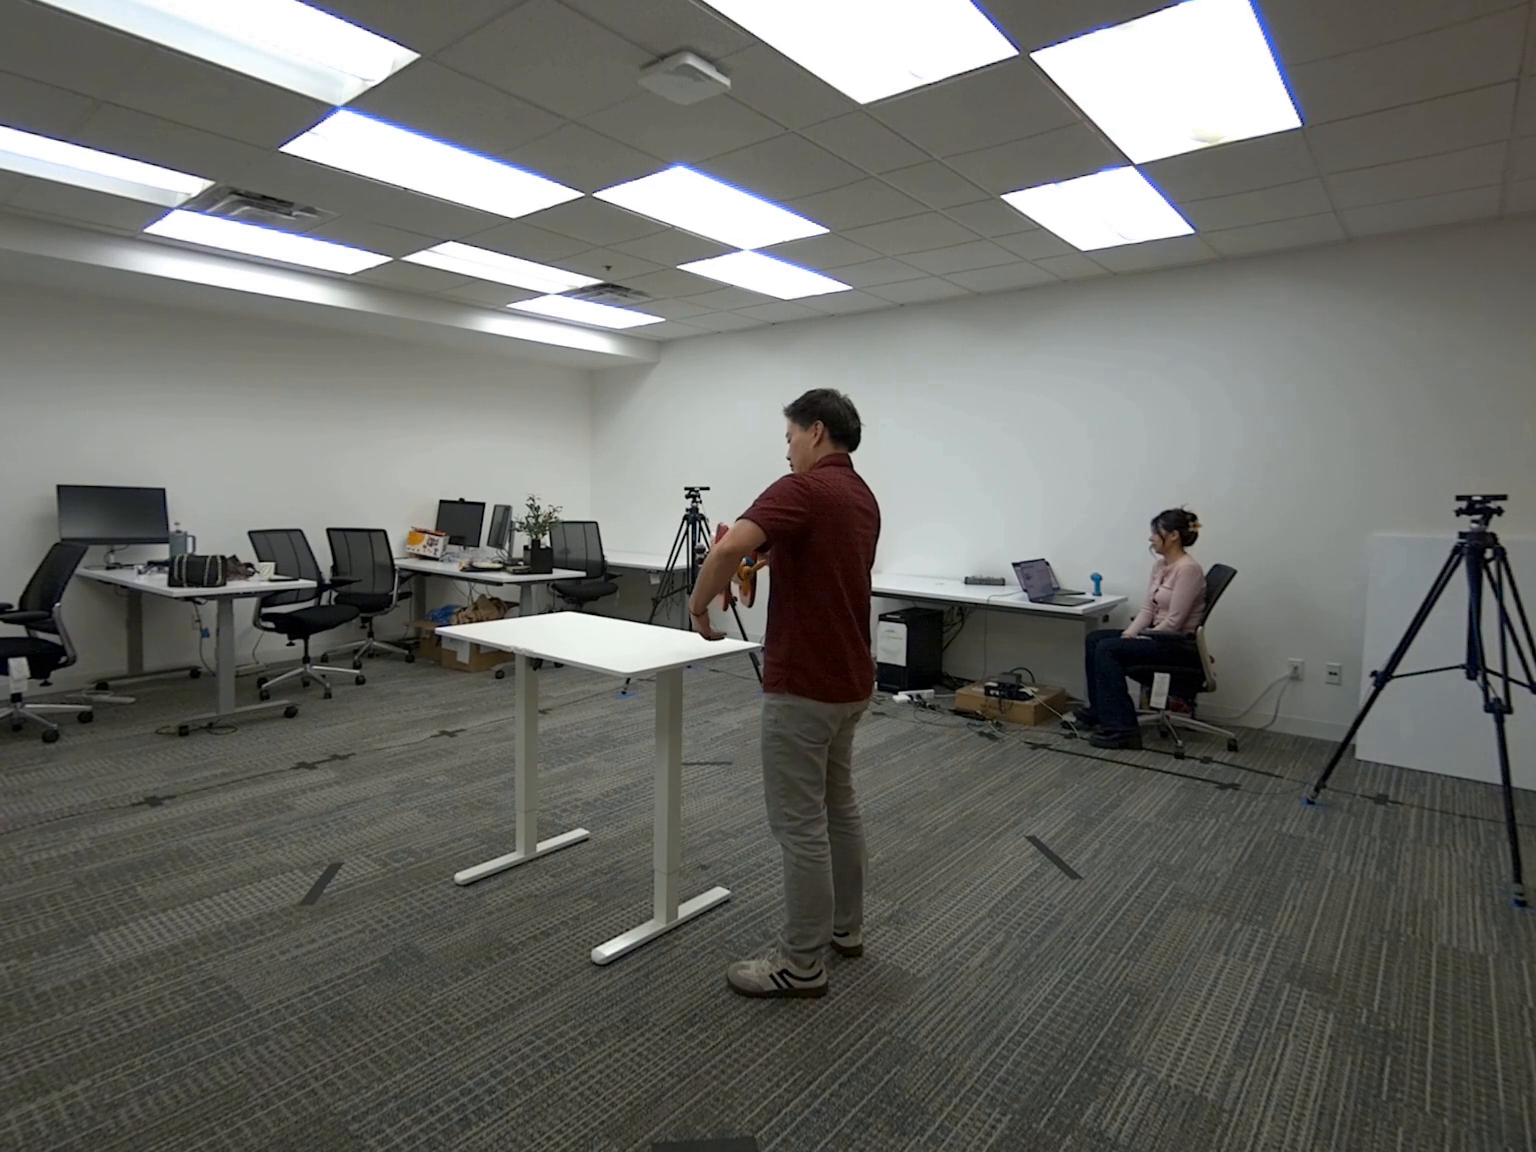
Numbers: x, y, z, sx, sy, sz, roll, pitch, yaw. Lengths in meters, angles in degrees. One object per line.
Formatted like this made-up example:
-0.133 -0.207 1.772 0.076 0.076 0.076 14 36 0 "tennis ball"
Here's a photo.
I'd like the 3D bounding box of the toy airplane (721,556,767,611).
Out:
-0.129 -0.063 2.469 0.154 0.245 0.269 -4 42 -13 "toy airplane"
